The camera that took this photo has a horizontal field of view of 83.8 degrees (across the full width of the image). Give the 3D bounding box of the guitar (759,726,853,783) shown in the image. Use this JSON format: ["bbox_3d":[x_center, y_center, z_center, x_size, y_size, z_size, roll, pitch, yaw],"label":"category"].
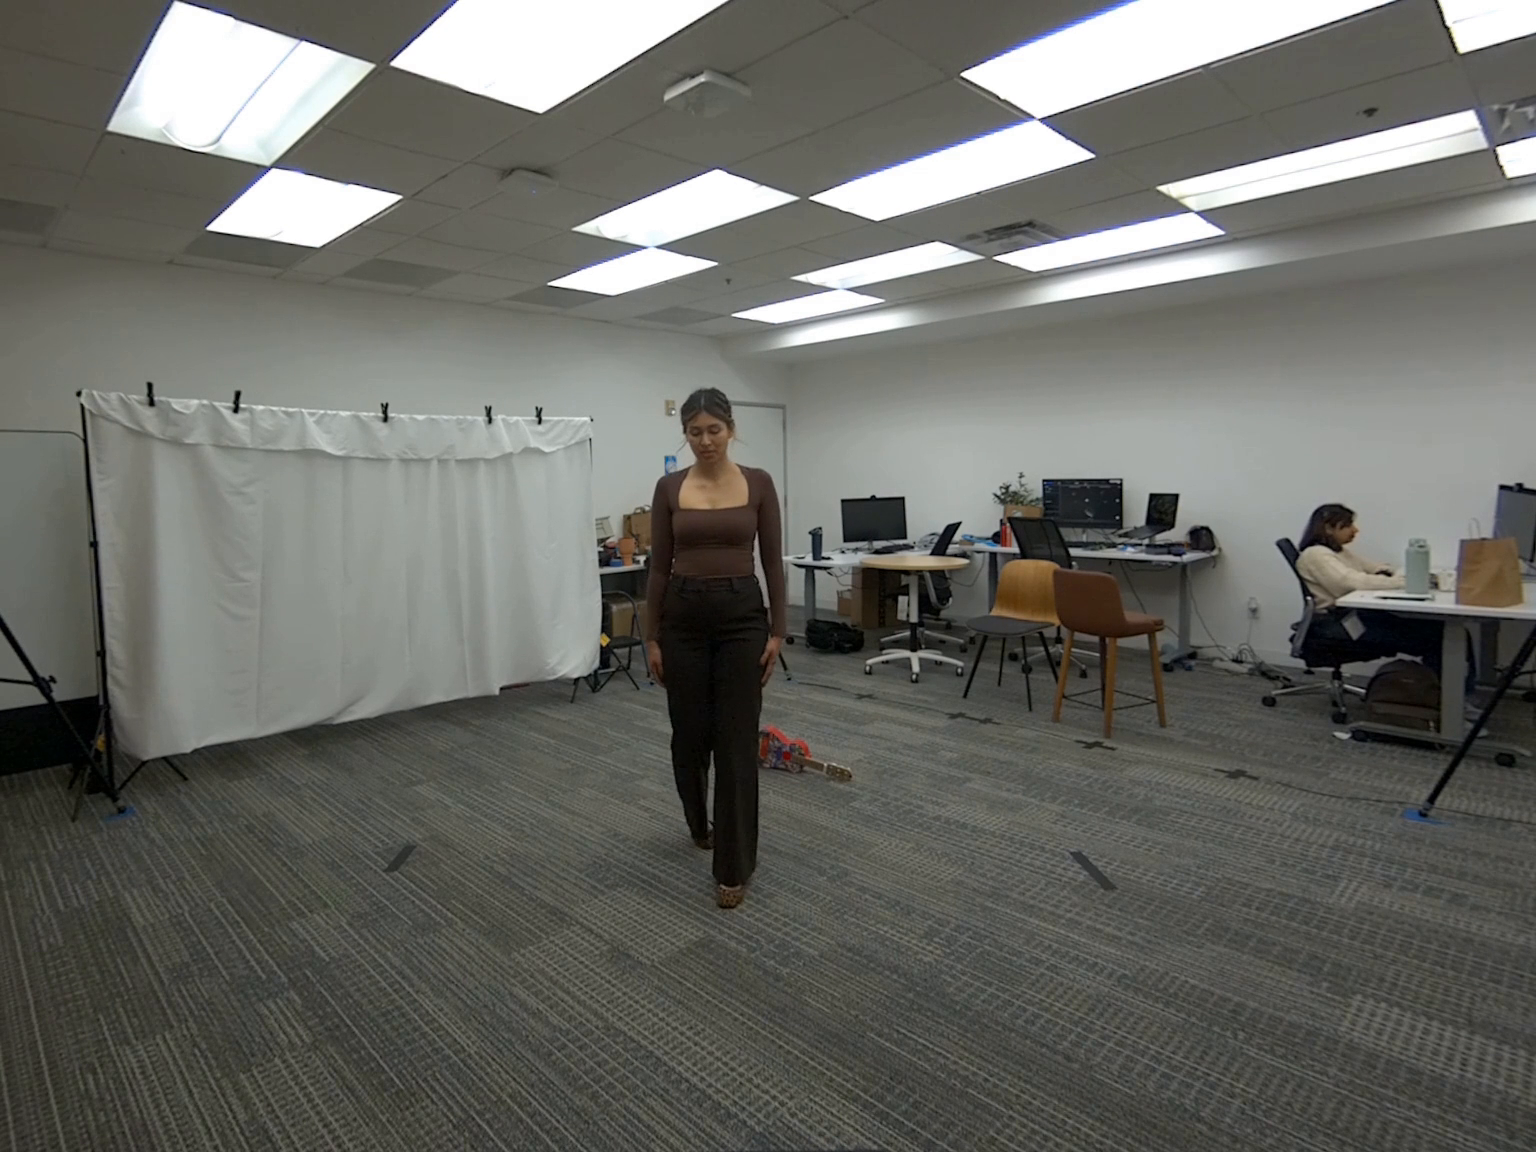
[{"bbox_3d":[0.159,0.894,4.055,0.512,0.191,0.069,22,14,24],"label":"guitar"}]
